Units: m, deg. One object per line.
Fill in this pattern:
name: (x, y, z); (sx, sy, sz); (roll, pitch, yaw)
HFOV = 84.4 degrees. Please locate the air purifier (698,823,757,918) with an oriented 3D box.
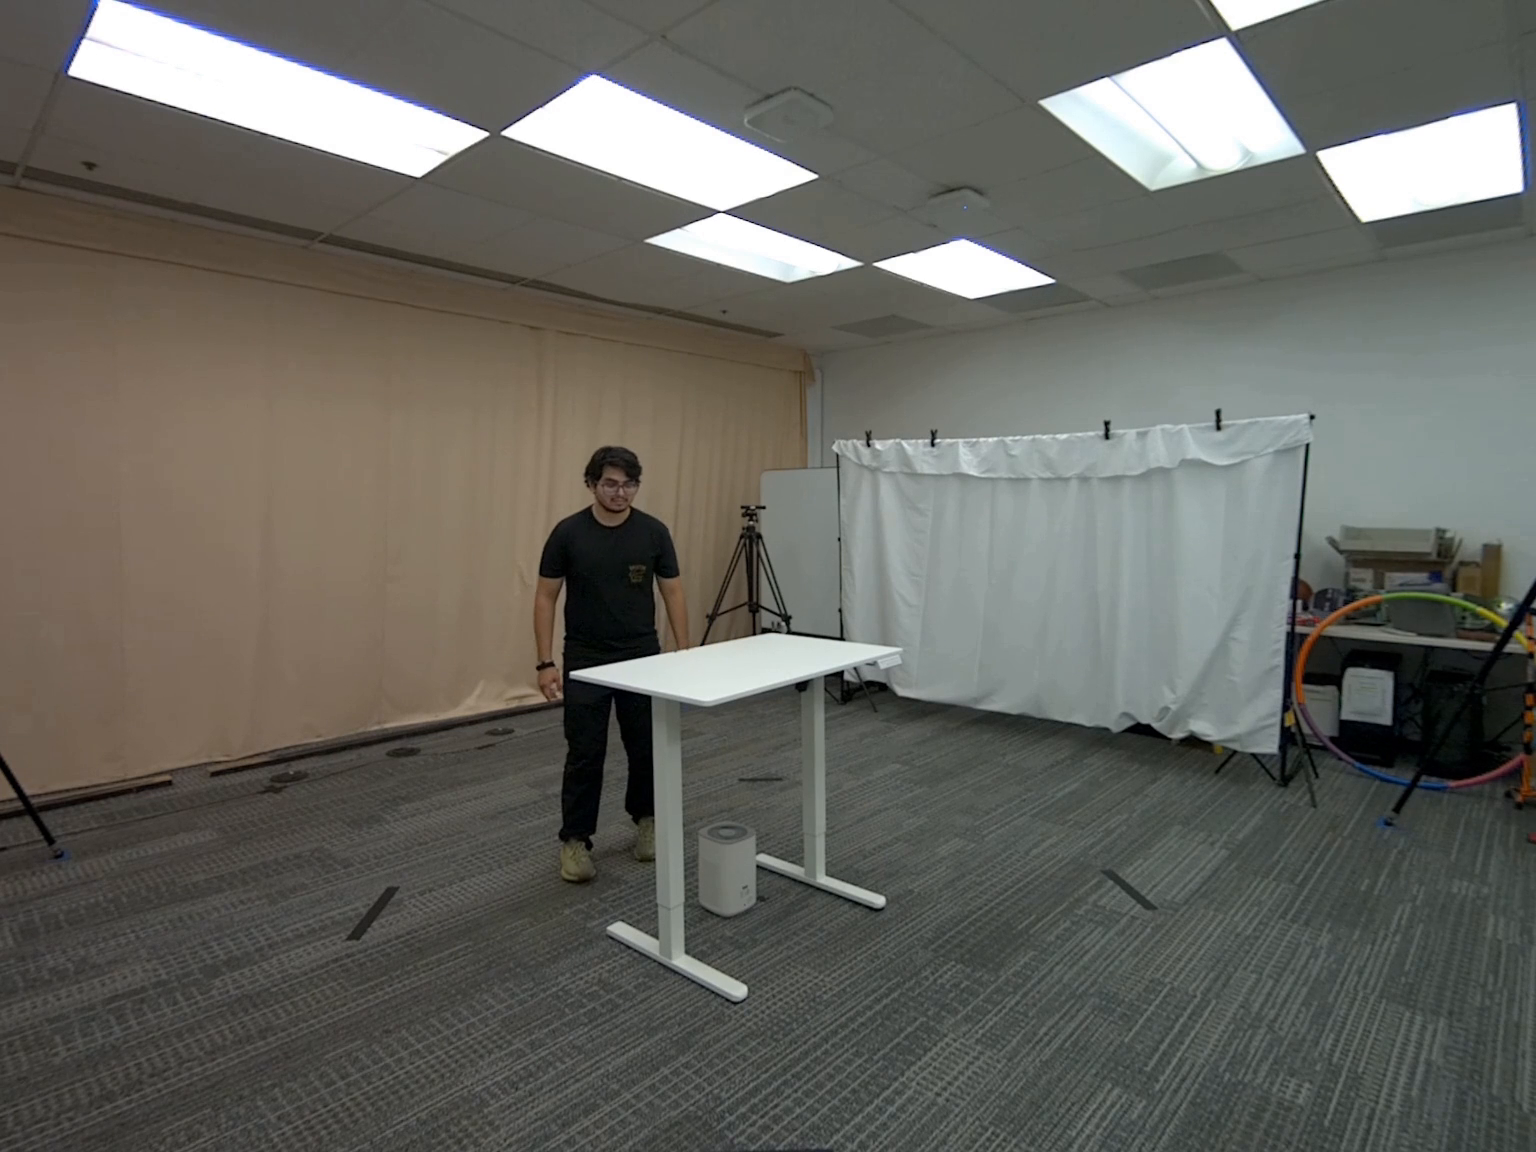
air purifier: (-0.136, 1.013, 2.919); (0.177, 0.265, 0.166); (4, 5, 42)
